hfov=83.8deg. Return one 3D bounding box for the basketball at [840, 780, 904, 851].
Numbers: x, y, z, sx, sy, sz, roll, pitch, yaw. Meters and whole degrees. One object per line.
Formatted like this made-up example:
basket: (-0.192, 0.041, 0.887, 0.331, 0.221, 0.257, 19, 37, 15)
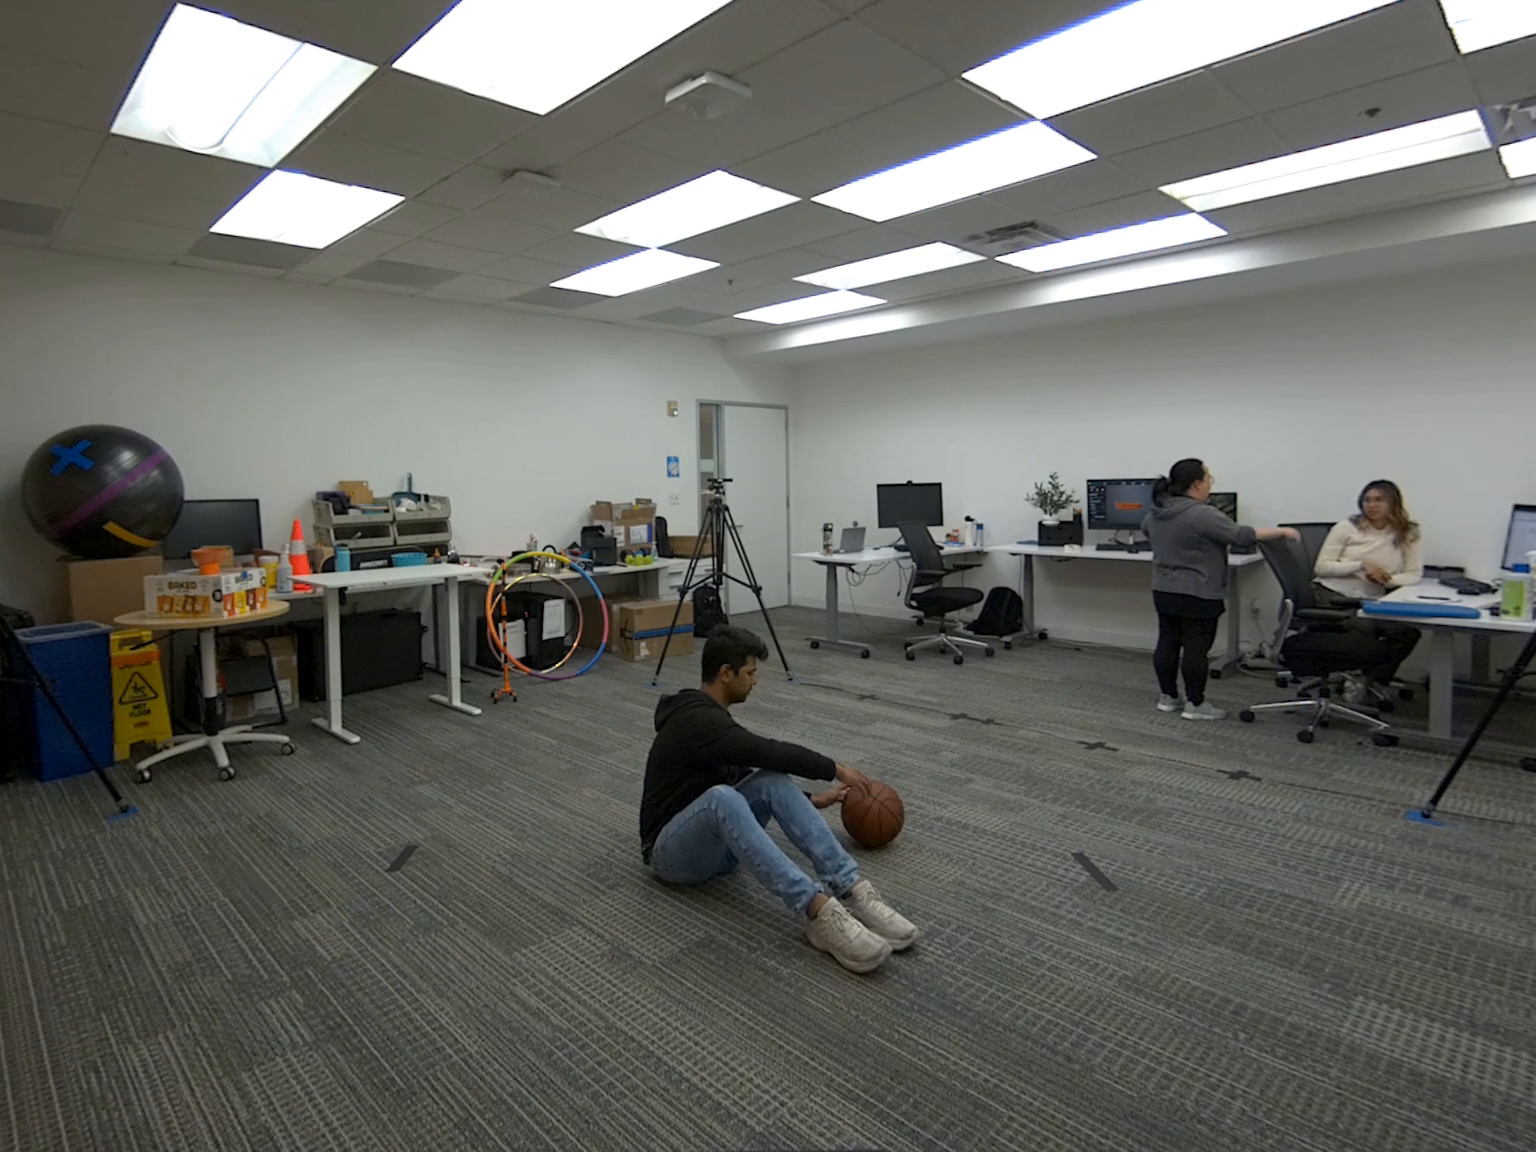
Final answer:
basketball: (0.391, 0.894, 3.239, 0.236, 0.235, 0.237, -1, 5, -2)
